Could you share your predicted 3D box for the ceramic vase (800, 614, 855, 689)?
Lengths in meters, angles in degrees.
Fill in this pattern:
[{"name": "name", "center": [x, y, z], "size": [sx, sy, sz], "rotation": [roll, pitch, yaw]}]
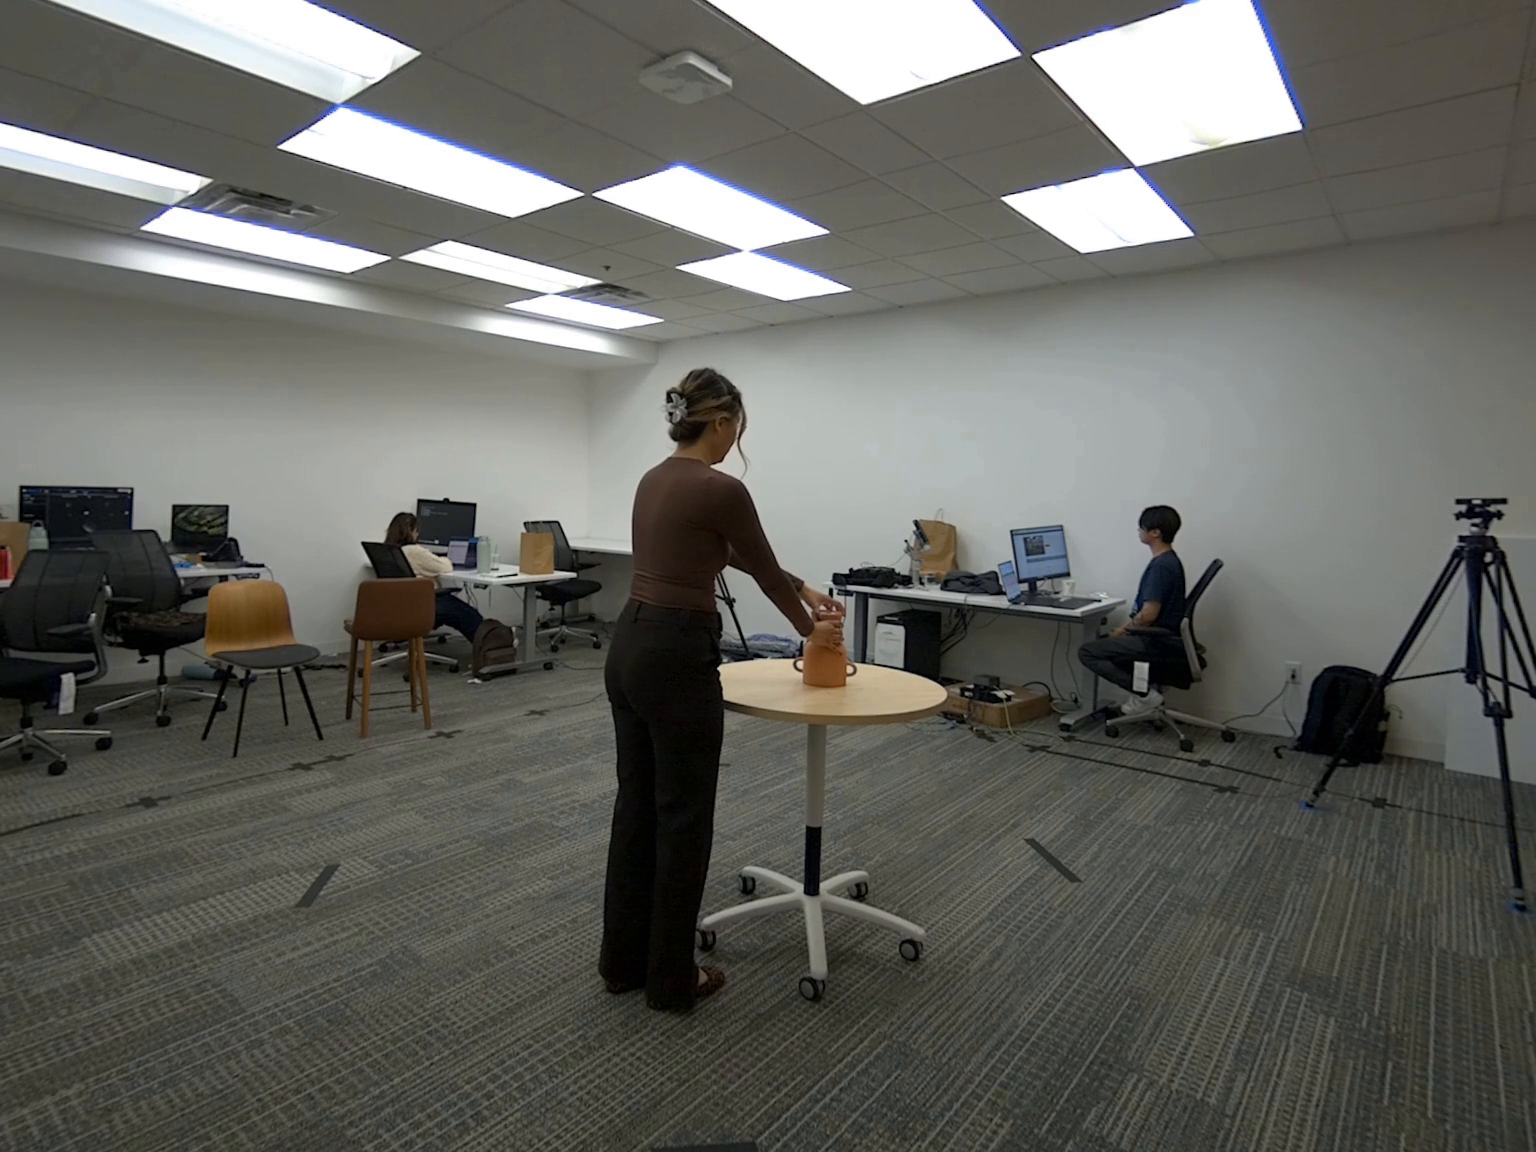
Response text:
[{"name": "ceramic vase", "center": [0.171, 0.218, 2.623], "size": [0.155, 0.219, 0.138], "rotation": [-1, 6, -26]}]
